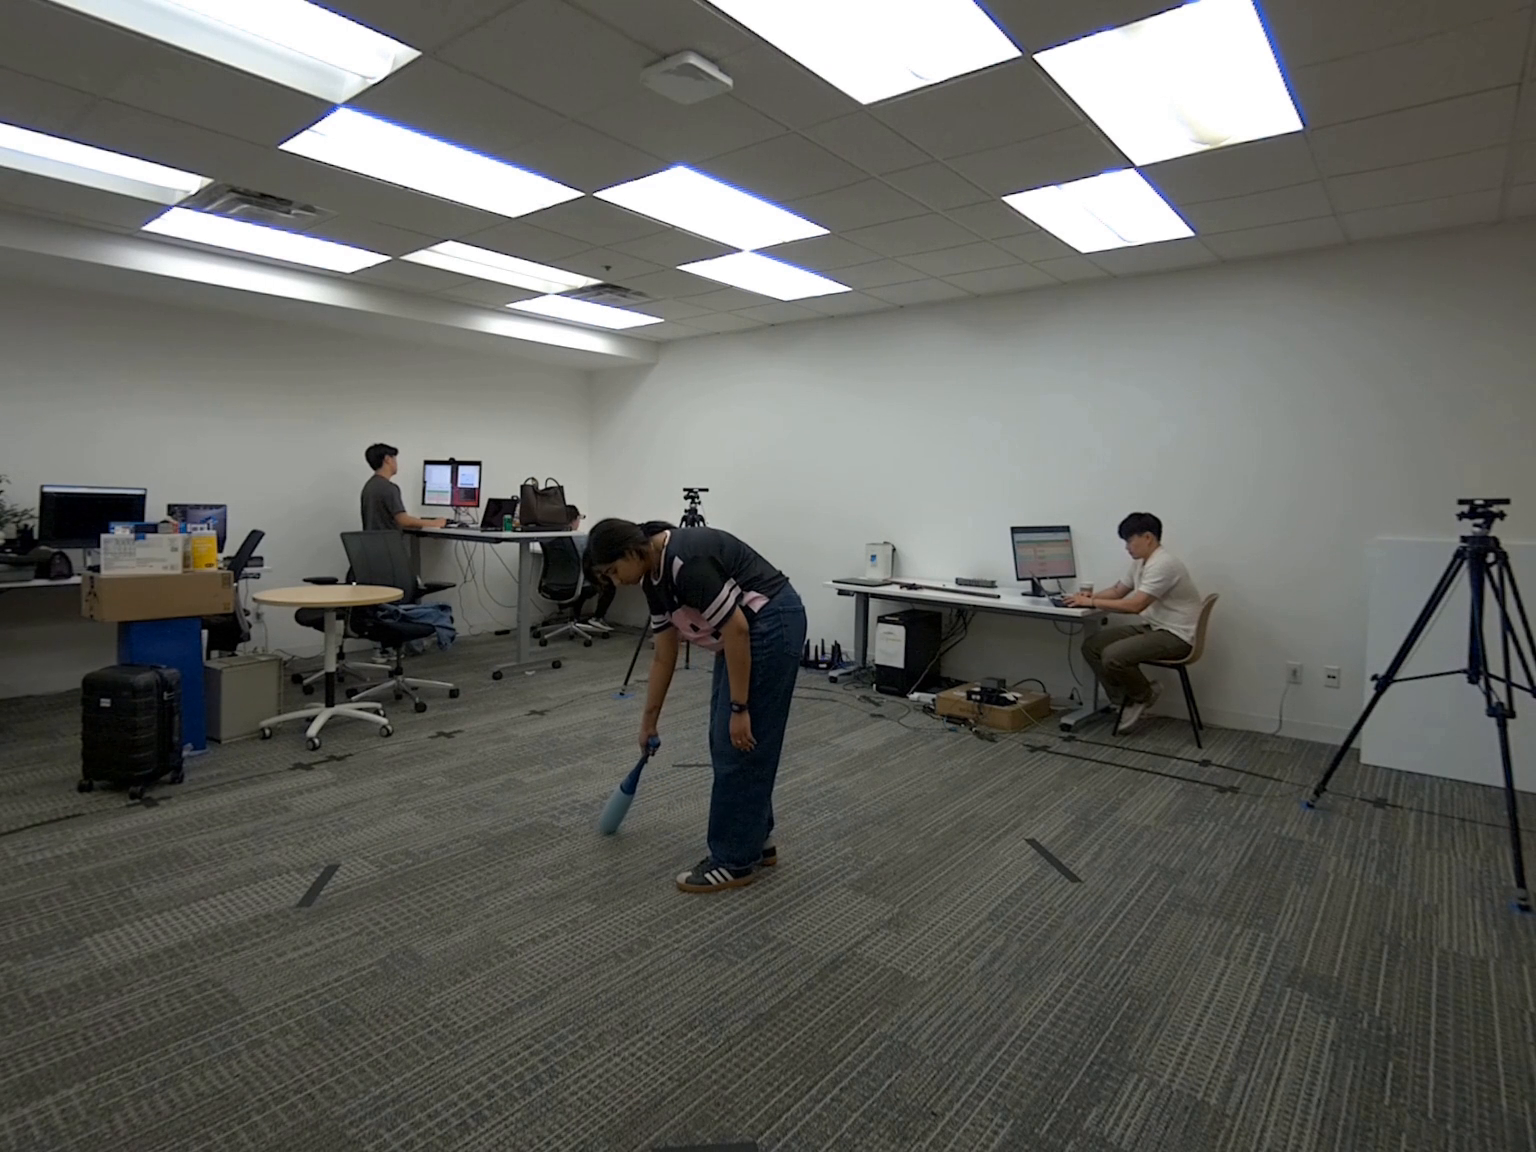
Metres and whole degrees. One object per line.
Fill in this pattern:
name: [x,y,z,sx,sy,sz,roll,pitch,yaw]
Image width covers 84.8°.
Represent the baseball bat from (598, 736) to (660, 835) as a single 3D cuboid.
baseball bat: [-0.553,0.815,3.310,0.087,0.538,0.091,20,33,-16]
